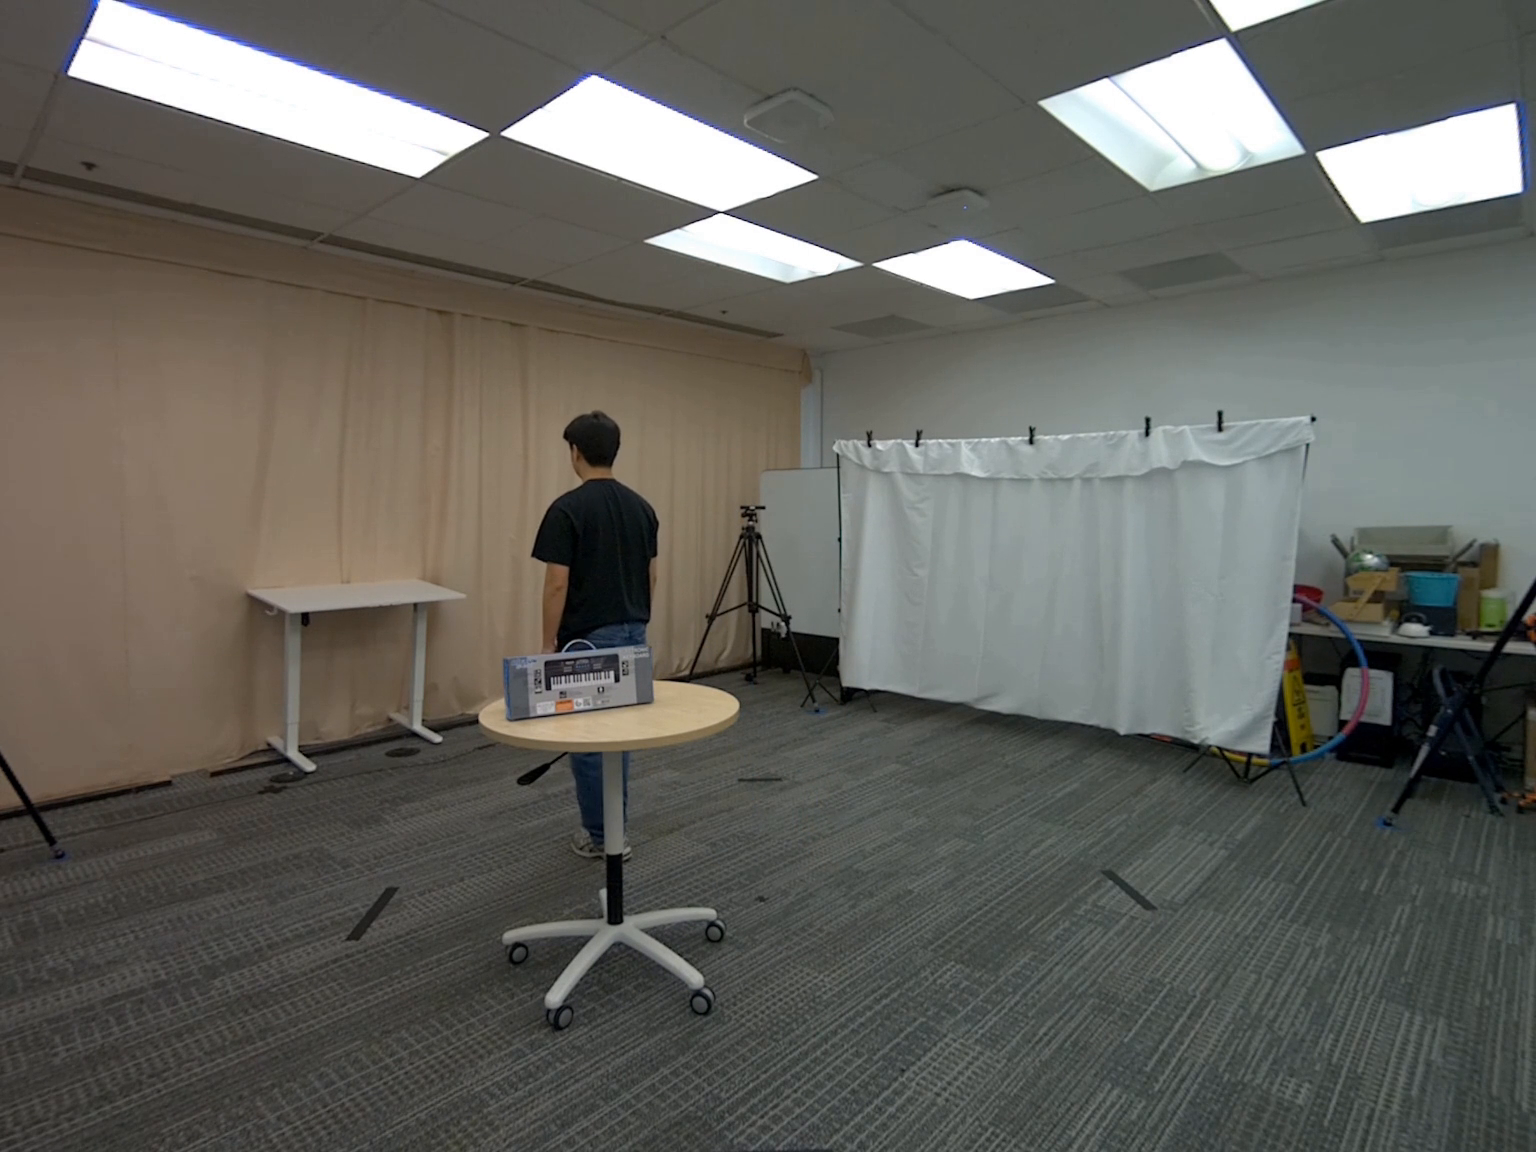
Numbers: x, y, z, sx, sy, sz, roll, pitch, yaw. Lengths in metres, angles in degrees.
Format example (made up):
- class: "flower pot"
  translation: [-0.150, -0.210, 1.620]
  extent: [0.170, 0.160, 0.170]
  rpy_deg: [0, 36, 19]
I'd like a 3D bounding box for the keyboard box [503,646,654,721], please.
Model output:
- class: "keyboard box"
  translation: [-0.547, 0.308, 2.470]
  extent: [0.426, 0.176, 0.060]
  rpy_deg: [-3, -3, -27]
